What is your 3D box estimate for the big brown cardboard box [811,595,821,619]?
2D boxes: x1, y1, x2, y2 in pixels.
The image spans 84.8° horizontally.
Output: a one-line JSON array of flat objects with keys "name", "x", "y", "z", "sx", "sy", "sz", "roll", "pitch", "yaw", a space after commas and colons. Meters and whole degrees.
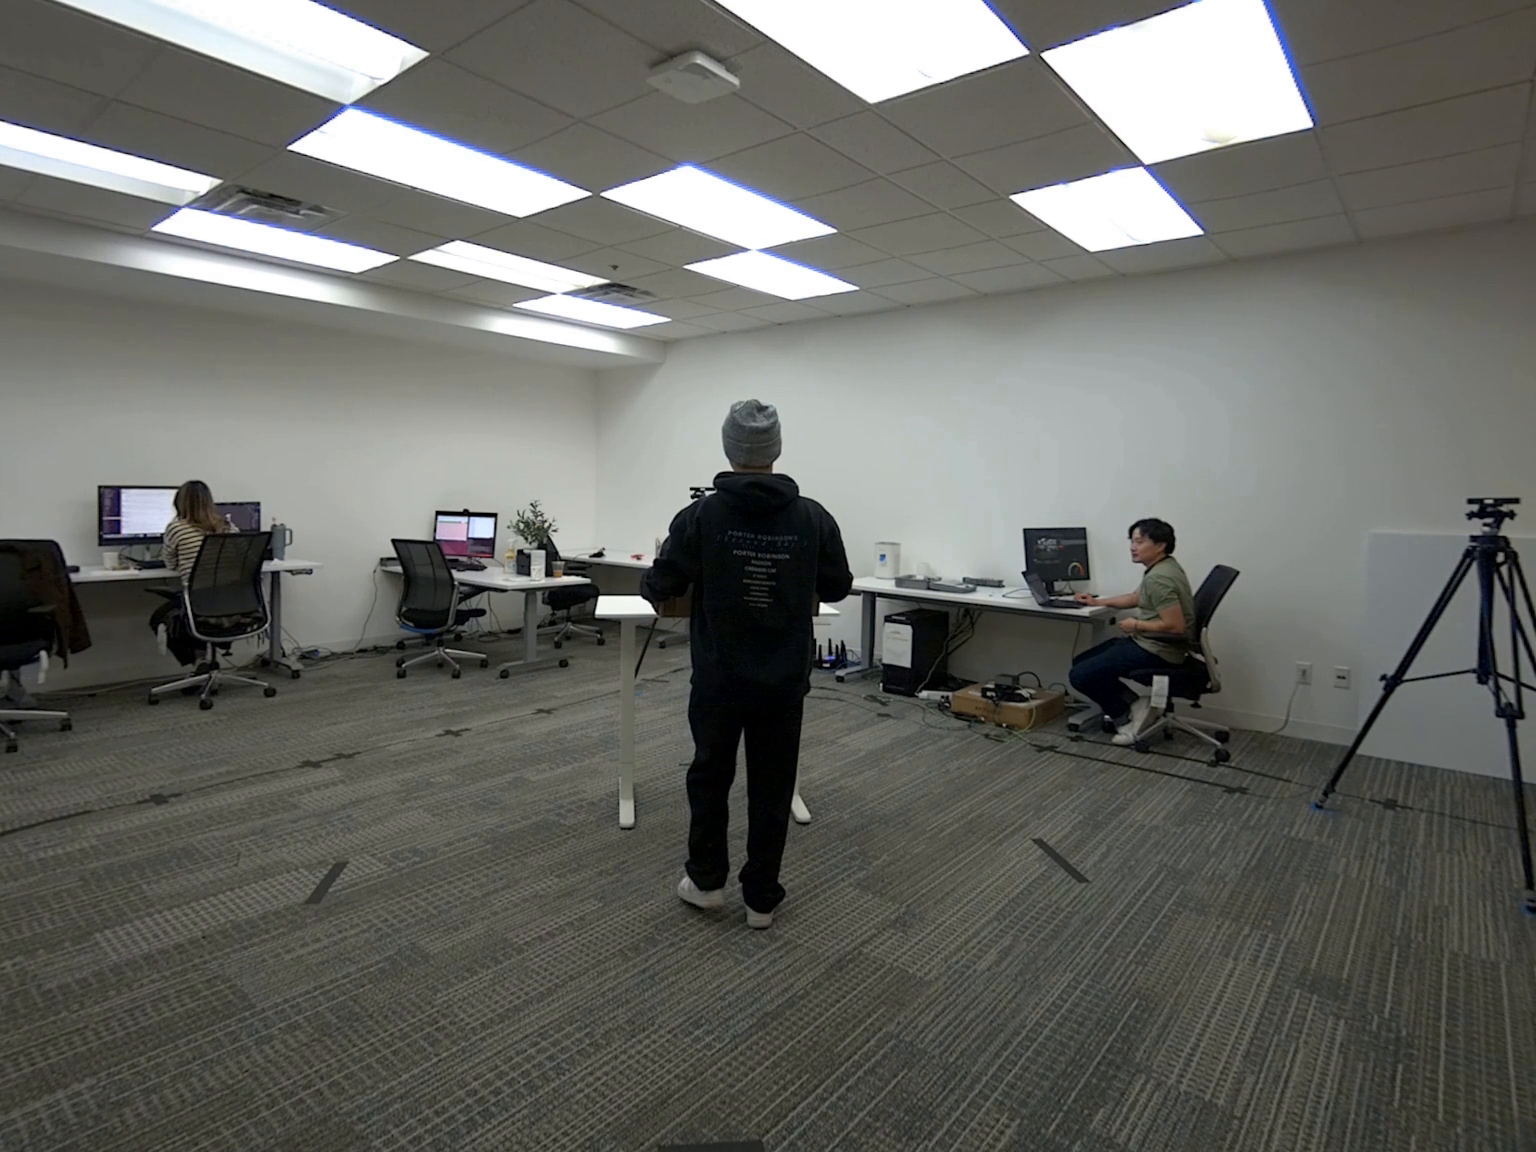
[{"name": "big brown cardboard box", "x": -0.134, "y": -0.007, "z": 3.154, "sx": 0.584, "sy": 0.231, "sz": 0.425, "roll": -1, "pitch": 10, "yaw": -8}]
